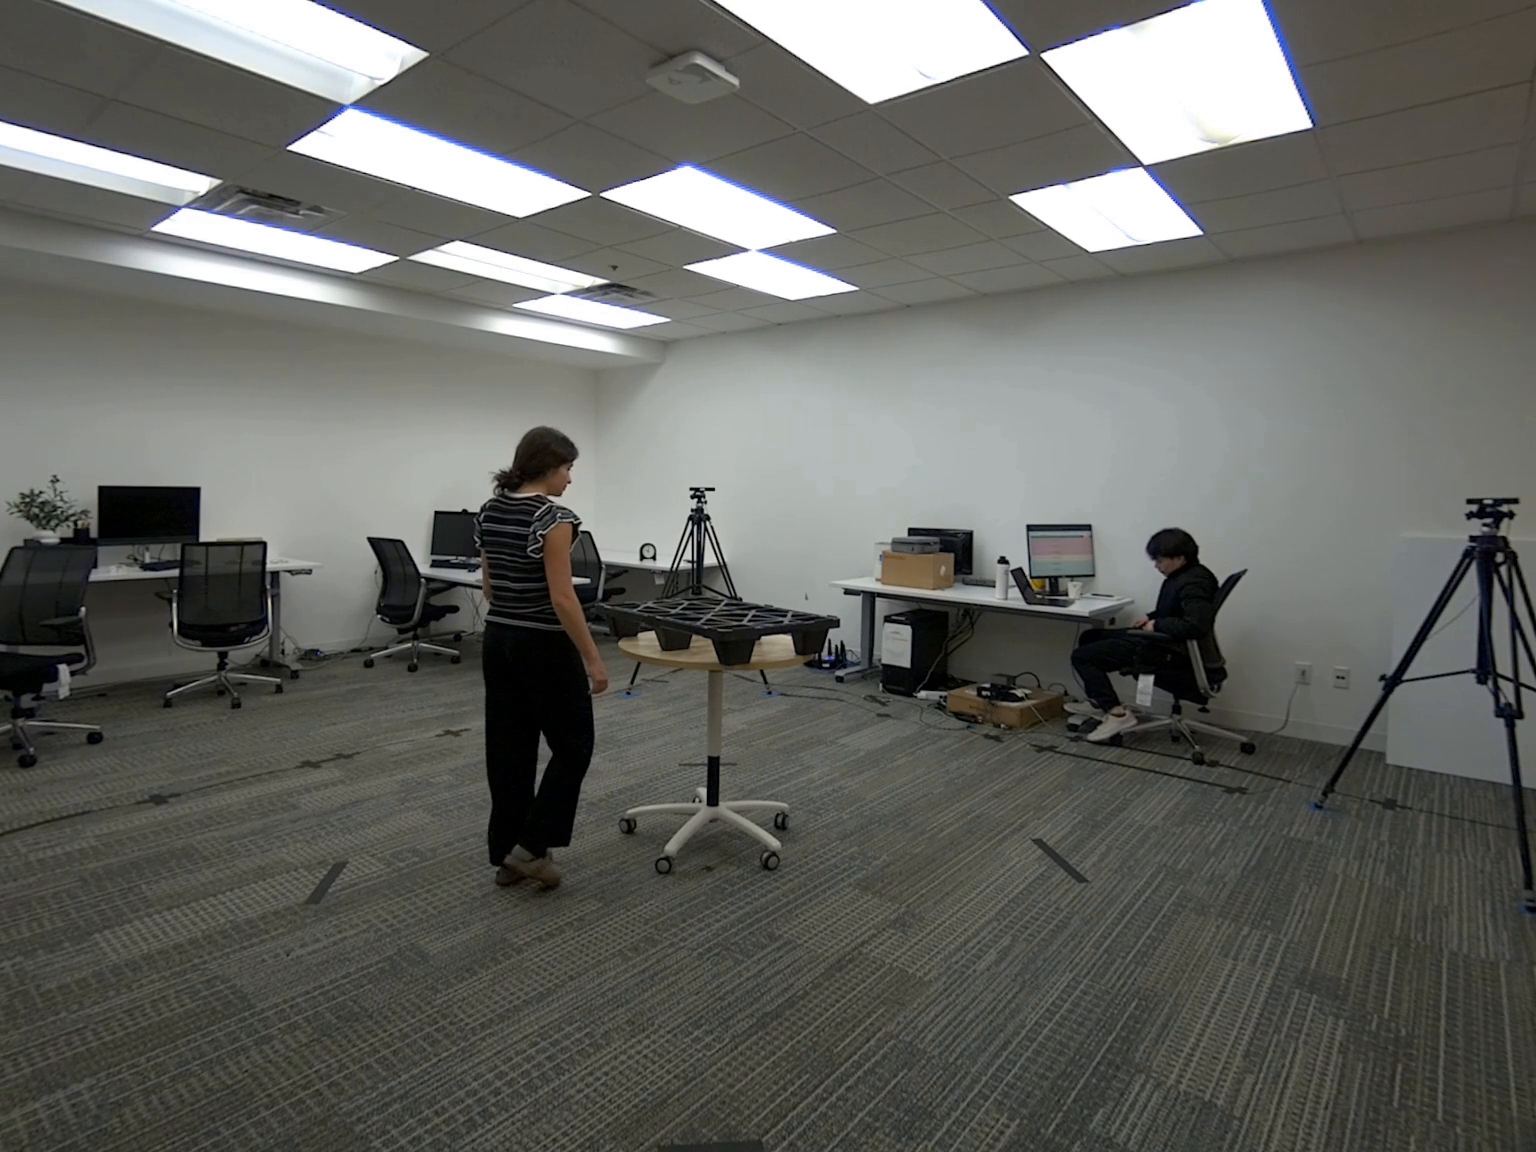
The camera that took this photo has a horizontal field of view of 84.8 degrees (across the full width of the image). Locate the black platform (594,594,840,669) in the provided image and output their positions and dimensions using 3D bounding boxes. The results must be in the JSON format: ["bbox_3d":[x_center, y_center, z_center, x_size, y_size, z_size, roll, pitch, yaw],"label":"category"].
[{"bbox_3d":[-0.230,0.203,3.318,0.586,0.143,0.833,-2,6,-42],"label":"black platform"}]
